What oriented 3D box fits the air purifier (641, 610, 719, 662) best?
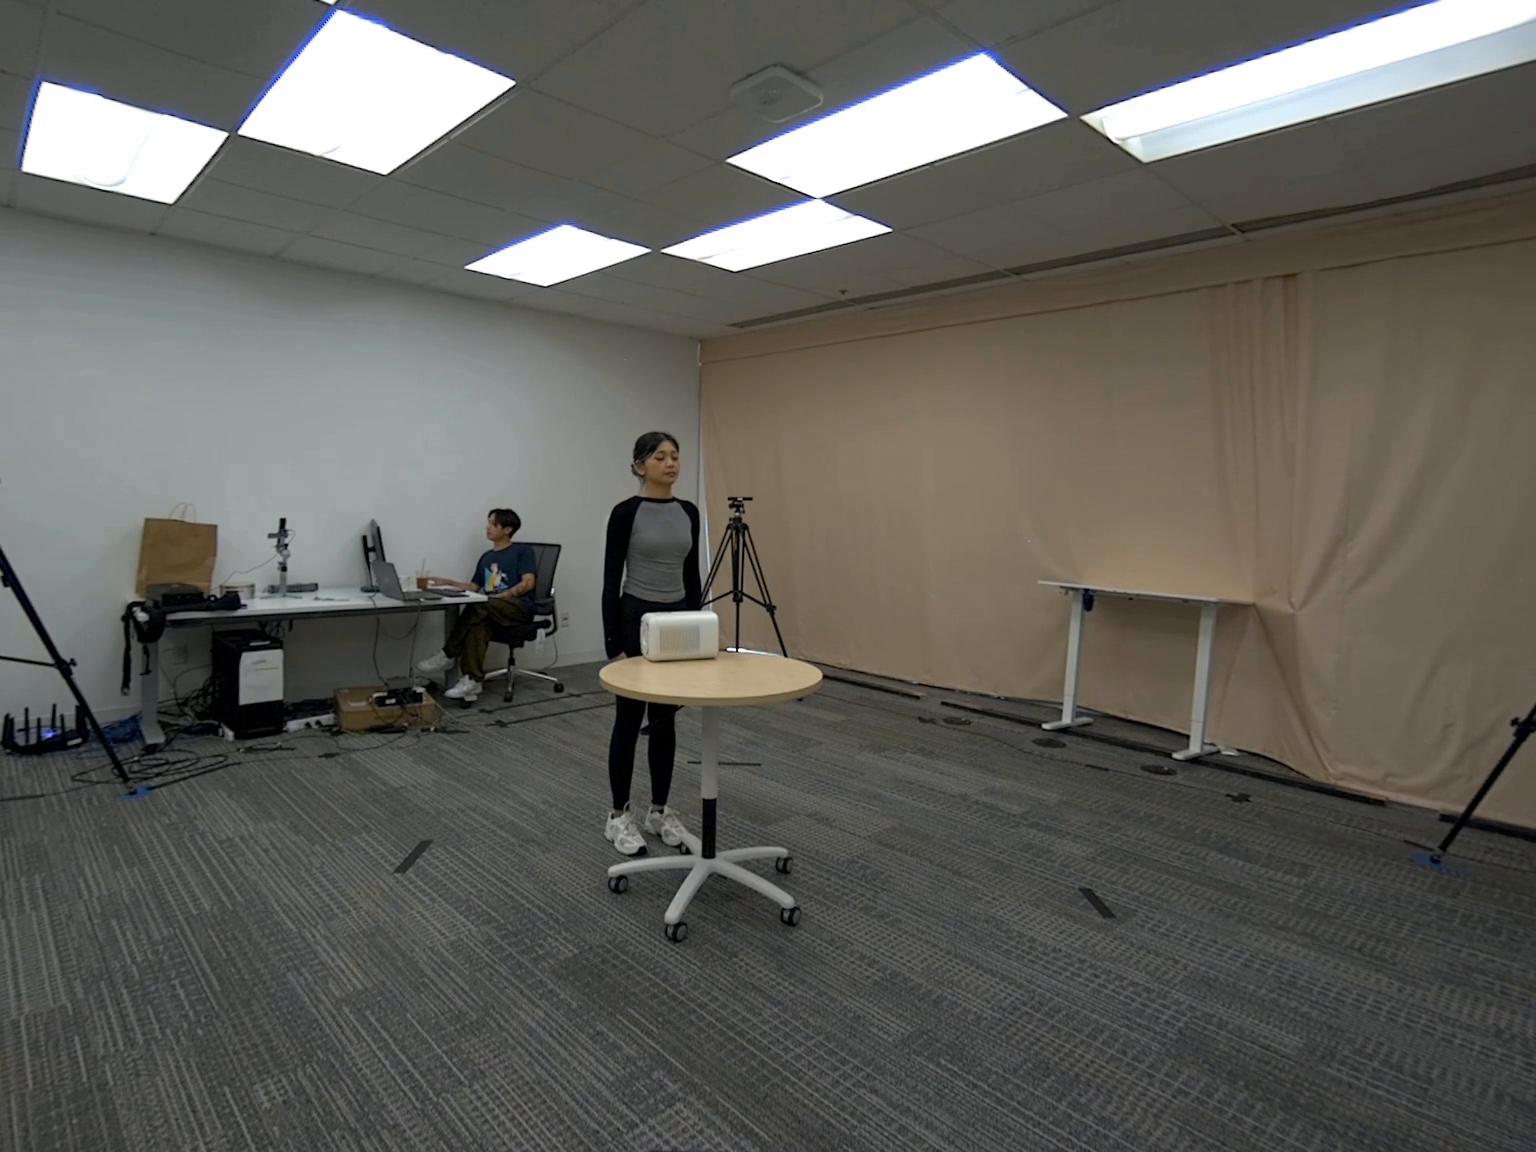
[{"bbox_3d":[-0.339,0.221,3.131,0.261,0.171,0.174,-1,5,-22],"label":"air purifier"}]
